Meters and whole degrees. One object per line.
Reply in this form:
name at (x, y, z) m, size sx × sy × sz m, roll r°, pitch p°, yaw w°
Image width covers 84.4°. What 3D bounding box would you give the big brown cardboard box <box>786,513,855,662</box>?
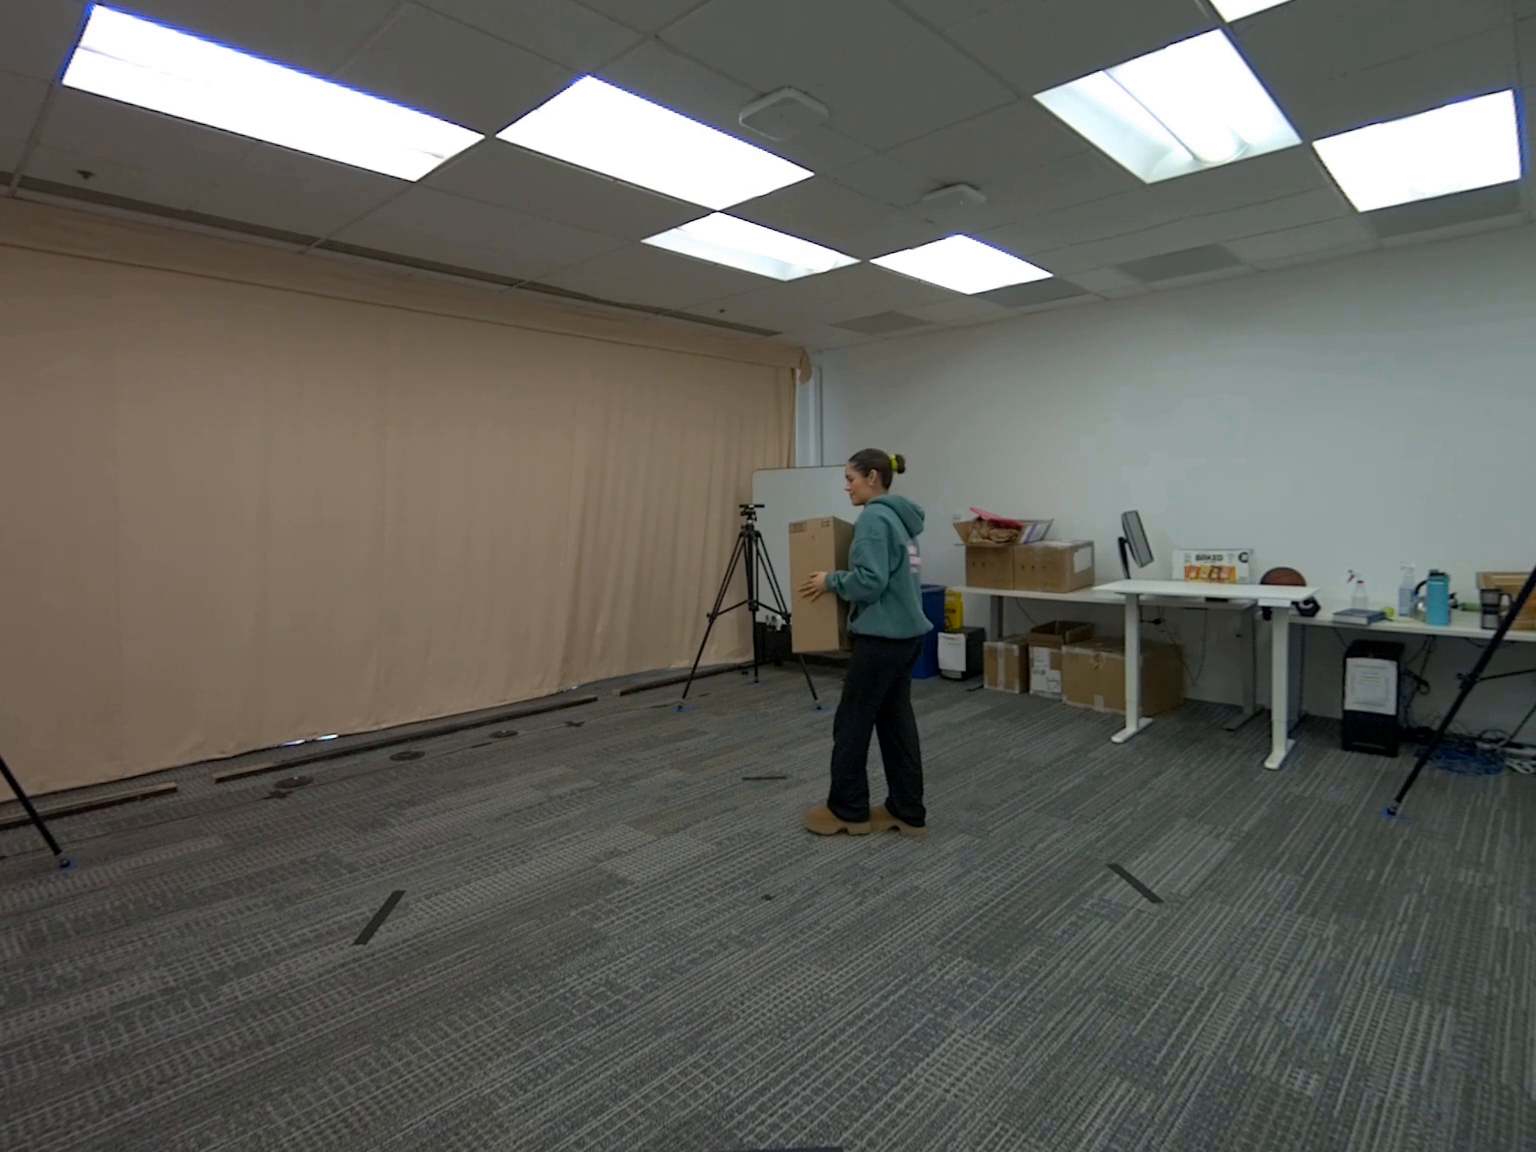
big brown cardboard box at (0.292, 0.066, 3.721) m, size 0.239 × 0.593 × 0.404 m, roll -8°, pitch -12°, yaw 30°
